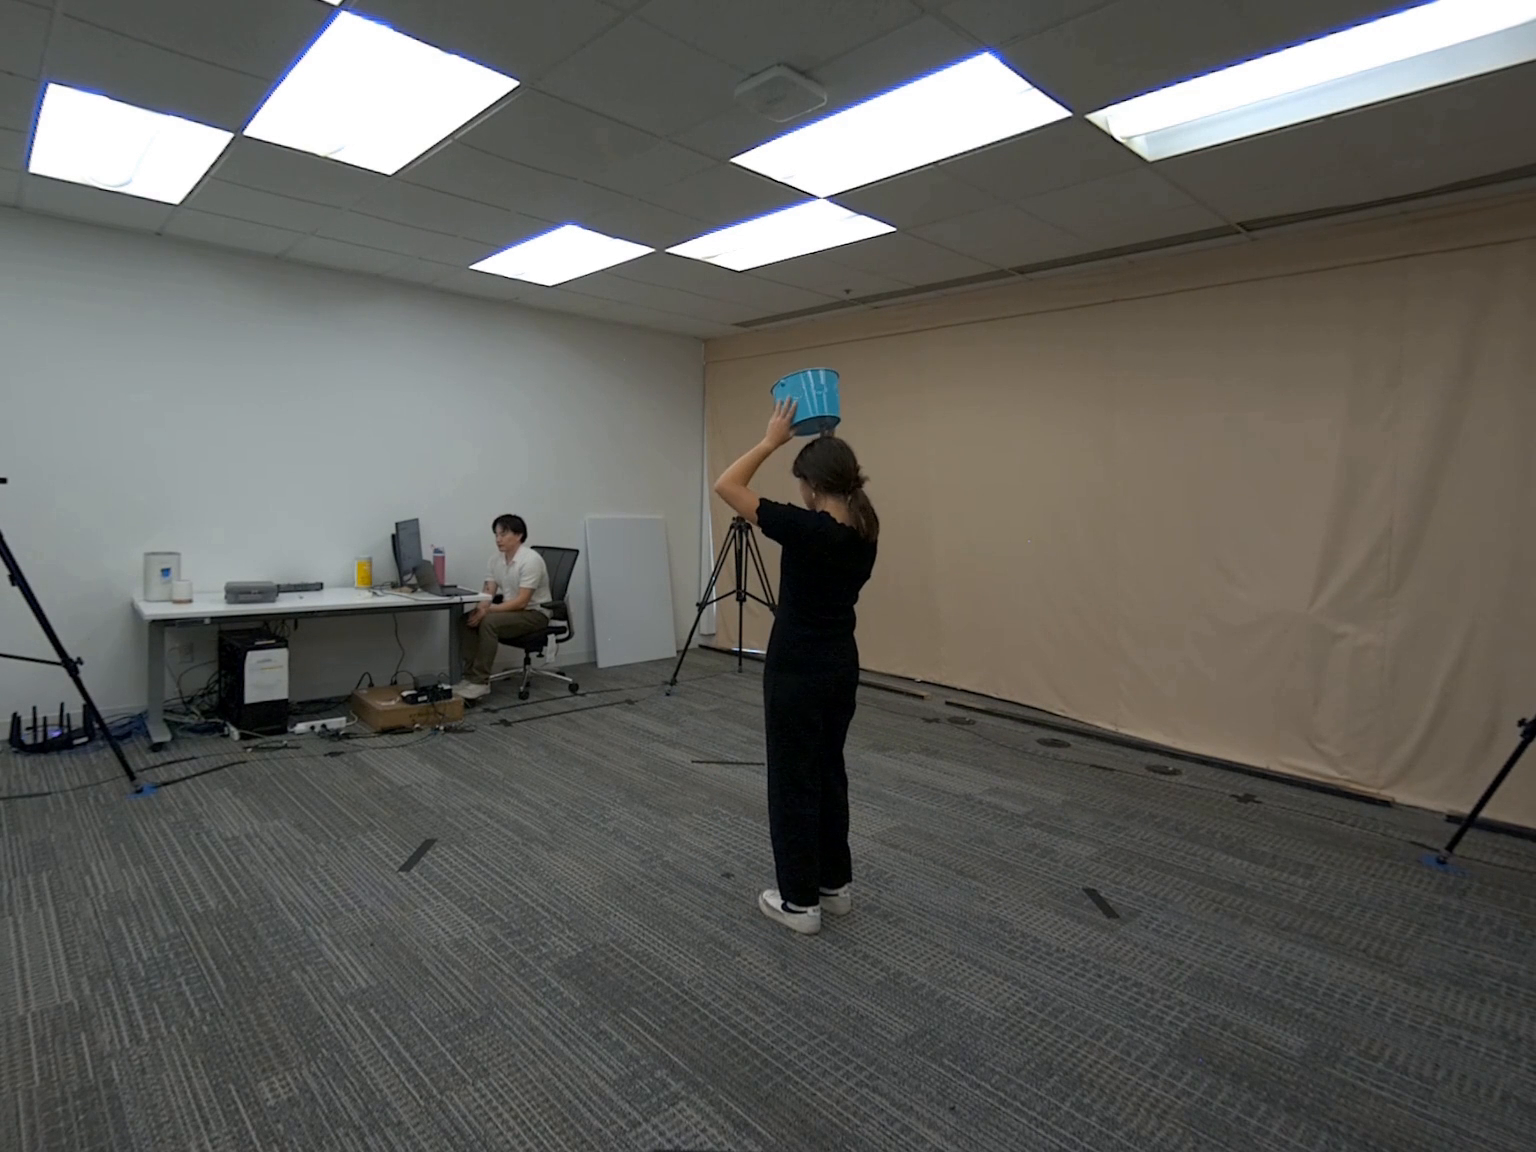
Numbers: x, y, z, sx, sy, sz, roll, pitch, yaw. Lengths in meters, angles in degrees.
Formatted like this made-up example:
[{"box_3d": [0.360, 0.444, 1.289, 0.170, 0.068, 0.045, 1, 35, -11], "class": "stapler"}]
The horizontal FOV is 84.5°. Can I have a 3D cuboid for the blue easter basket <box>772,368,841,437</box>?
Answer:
[{"box_3d": [0.130, -0.566, 2.803, 0.243, 0.157, 0.241, -10, -11, -3], "class": "blue easter basket"}]
